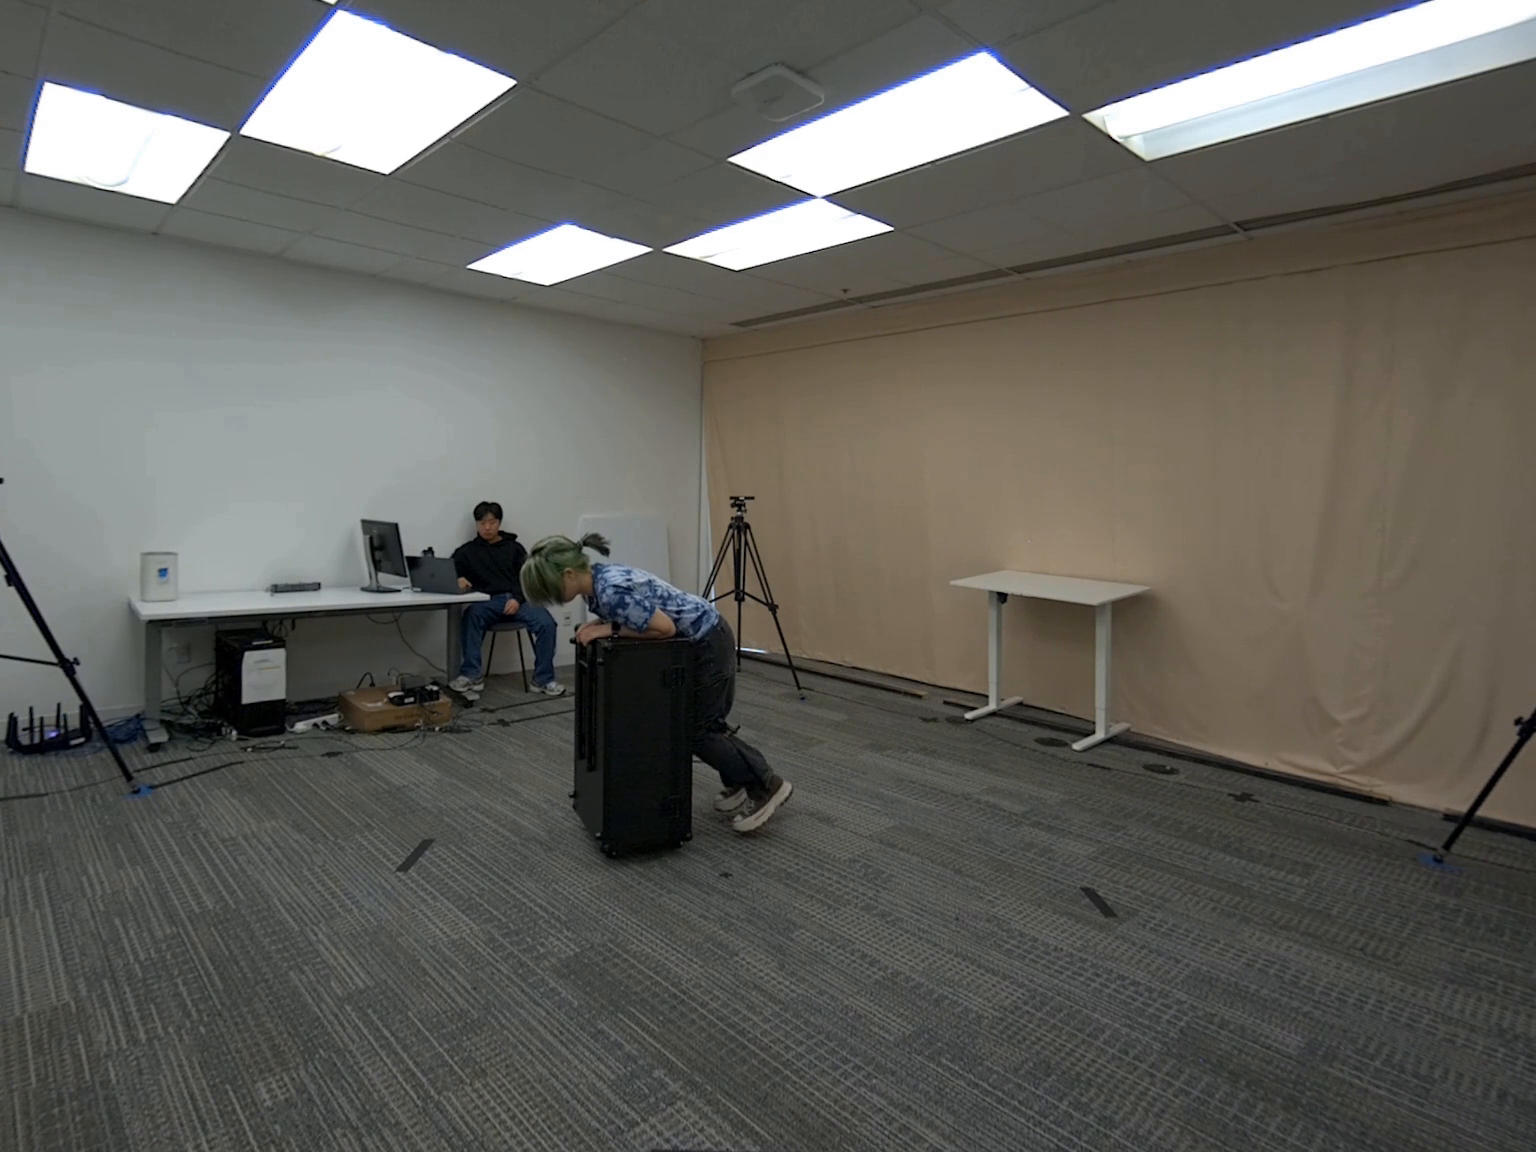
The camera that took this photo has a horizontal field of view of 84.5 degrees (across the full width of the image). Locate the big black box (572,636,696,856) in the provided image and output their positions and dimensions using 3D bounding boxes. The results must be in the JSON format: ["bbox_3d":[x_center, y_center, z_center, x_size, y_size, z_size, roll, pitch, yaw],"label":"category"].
[{"bbox_3d":[-0.568,0.592,3.360,0.389,0.859,0.532,-1,4,-25],"label":"big black box"}]
